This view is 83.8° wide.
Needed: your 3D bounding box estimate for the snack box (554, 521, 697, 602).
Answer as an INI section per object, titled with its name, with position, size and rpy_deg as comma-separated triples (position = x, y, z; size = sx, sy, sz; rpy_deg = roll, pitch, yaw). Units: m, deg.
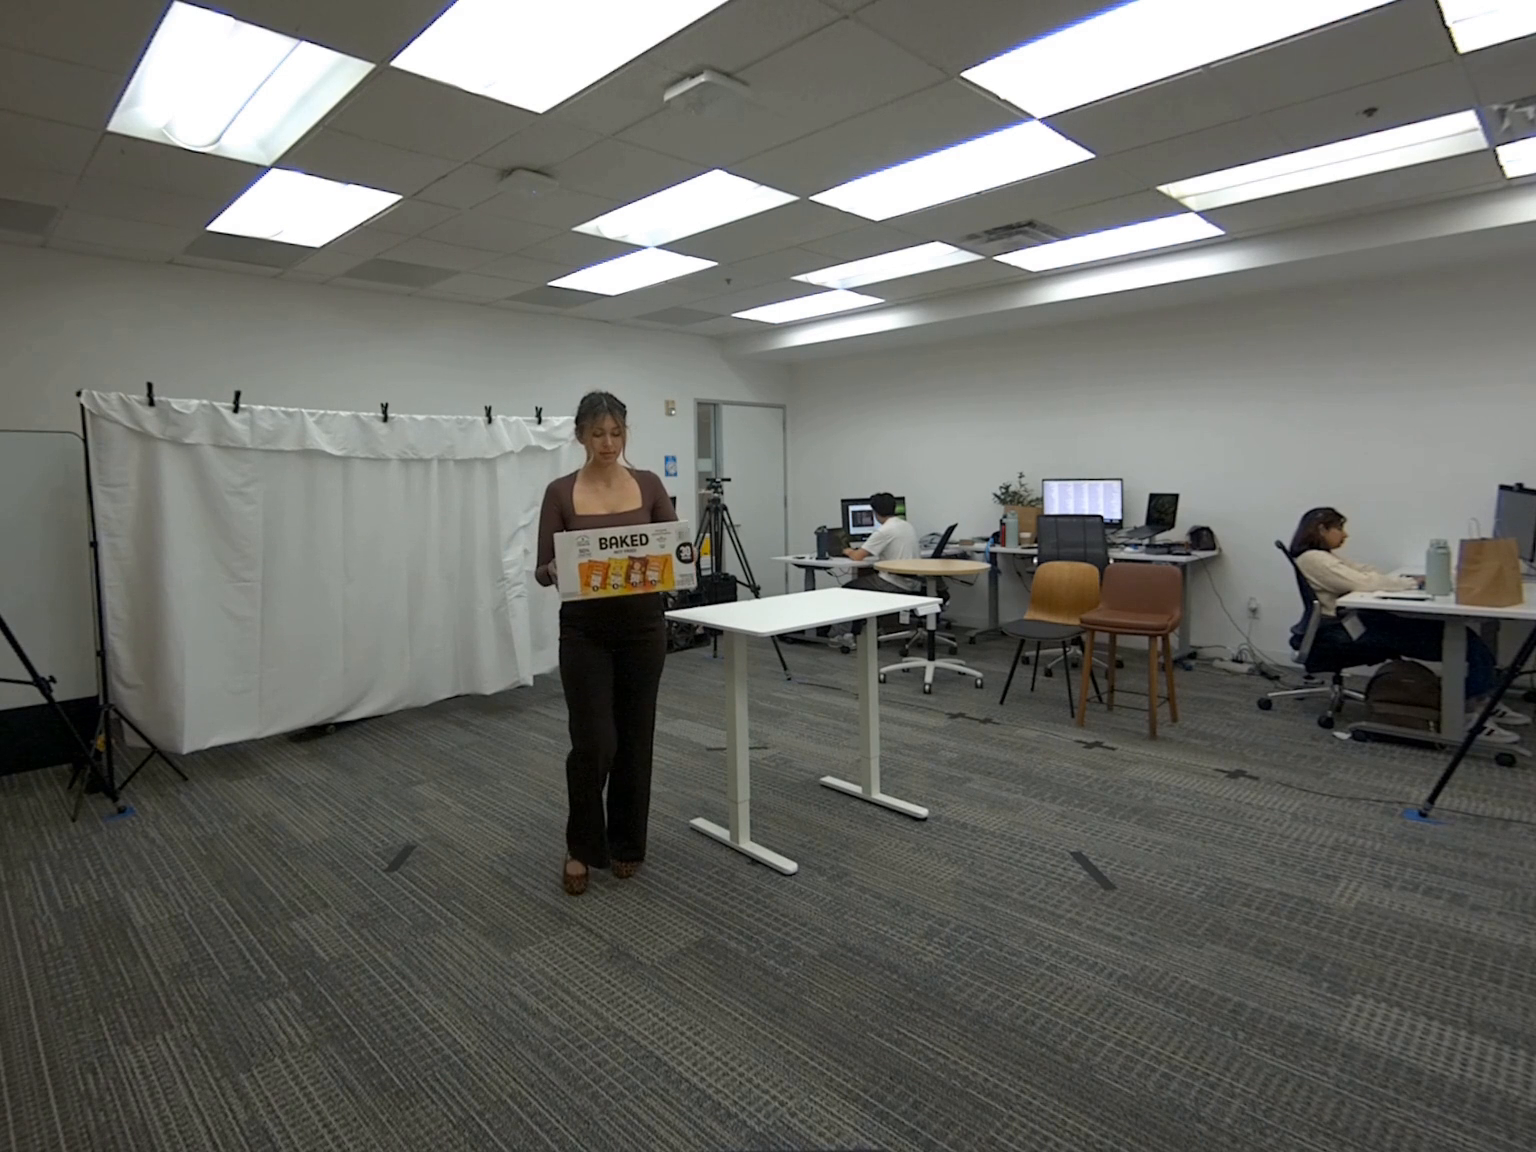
[snack box]
position = -0.452, -0.041, 2.679
size = 0.402, 0.206, 0.342
rpy_deg = -6, -1, -10
